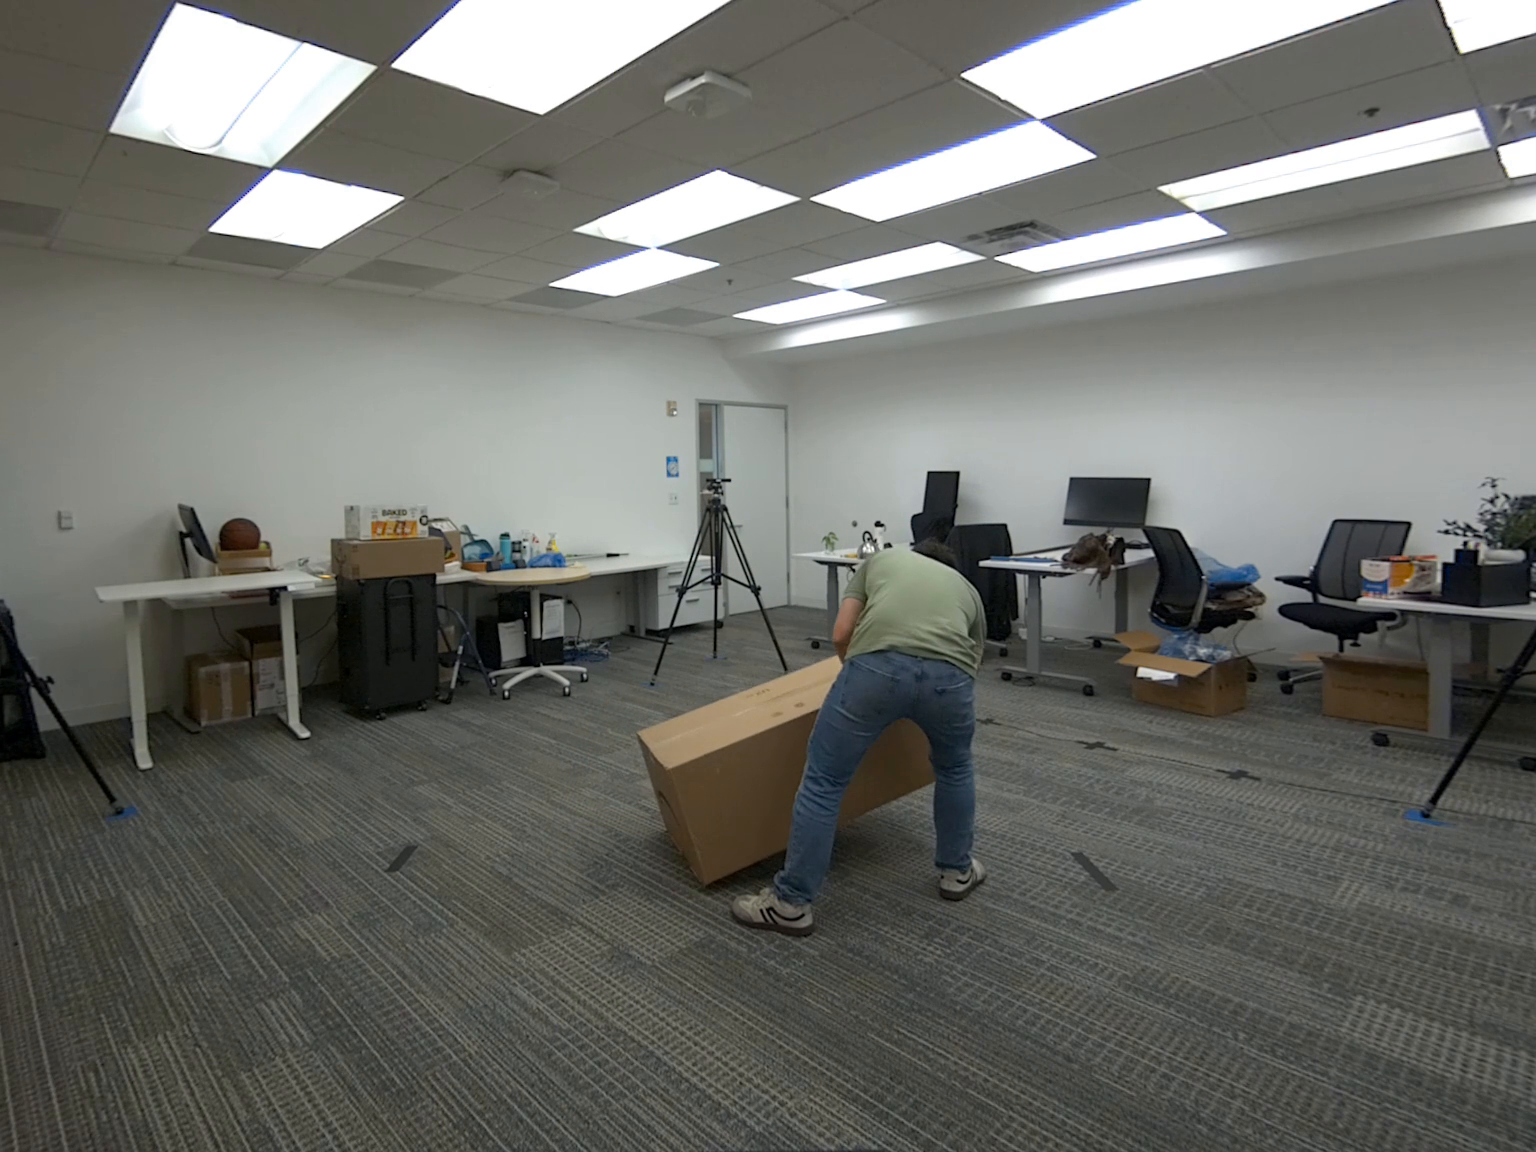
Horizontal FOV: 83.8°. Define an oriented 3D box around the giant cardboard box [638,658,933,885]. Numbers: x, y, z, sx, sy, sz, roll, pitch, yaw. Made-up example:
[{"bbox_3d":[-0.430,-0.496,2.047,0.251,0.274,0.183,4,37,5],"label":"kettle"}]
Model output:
[{"bbox_3d":[0.085,0.667,3.250,1.016,0.423,0.587,-19,7,-16],"label":"giant cardboard box"}]
